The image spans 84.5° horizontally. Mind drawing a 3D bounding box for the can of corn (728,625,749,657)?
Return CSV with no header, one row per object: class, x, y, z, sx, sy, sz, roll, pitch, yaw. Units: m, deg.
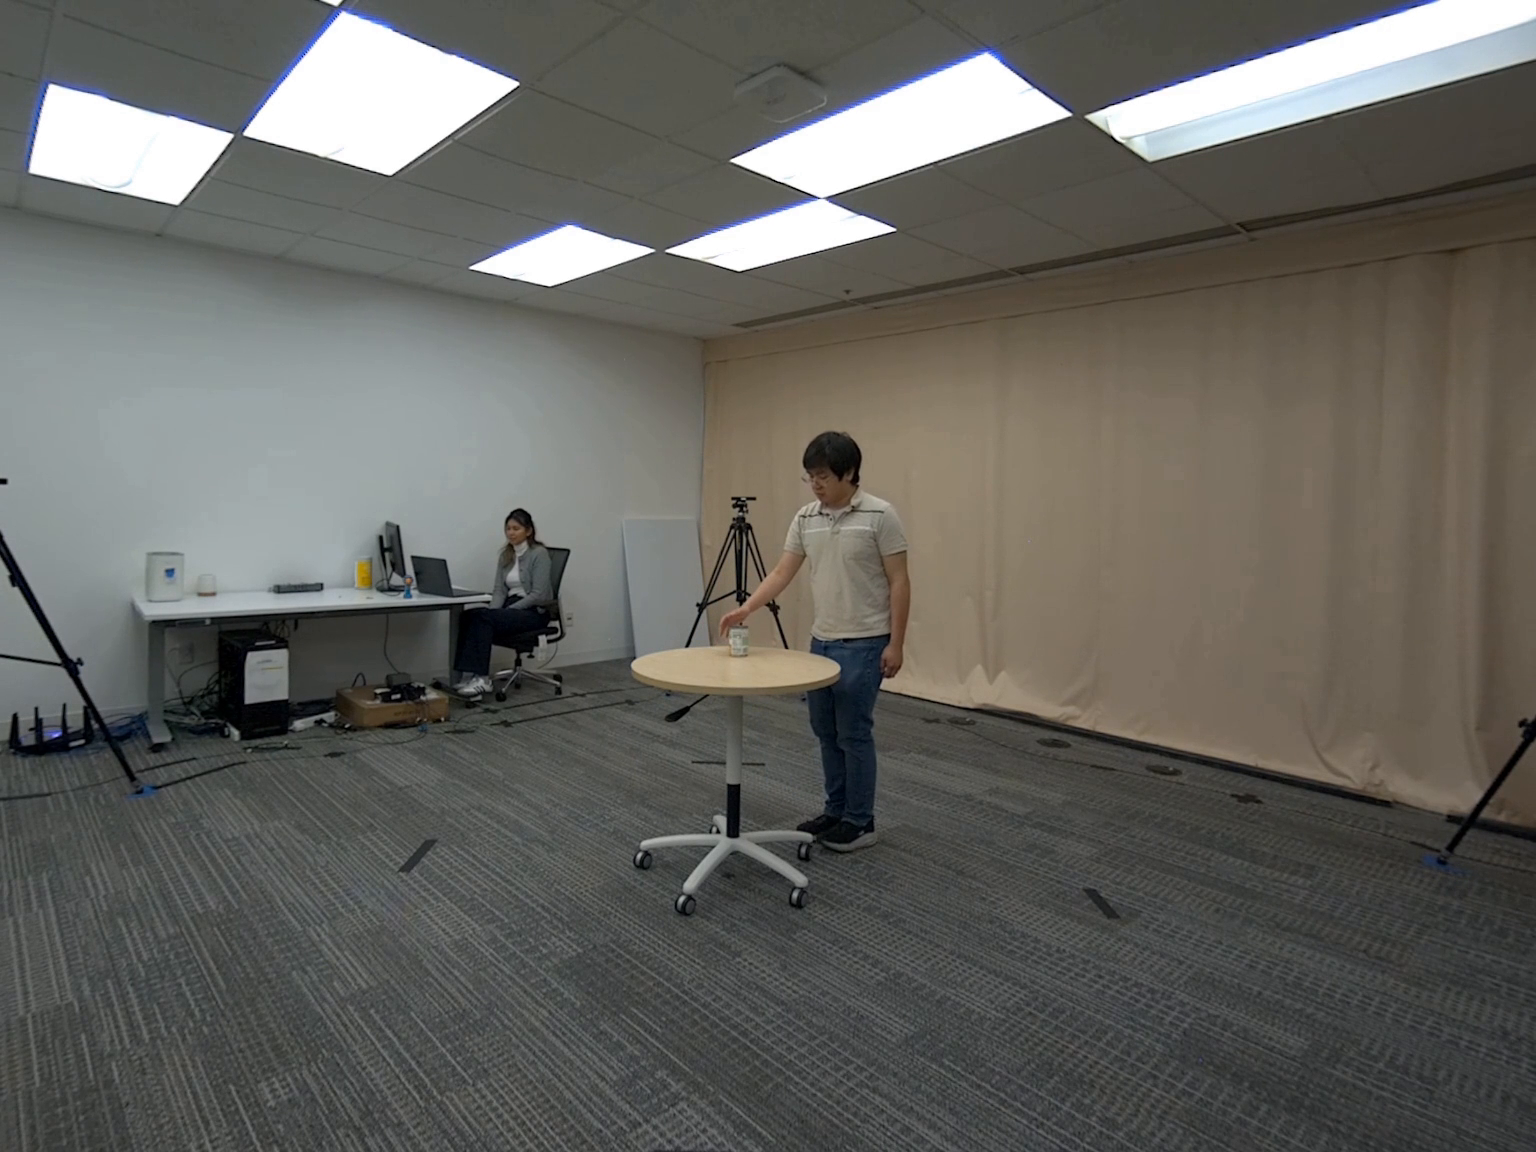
can of corn,-0.120,0.257,3.260,0.074,0.111,0.074,-2,2,-1
